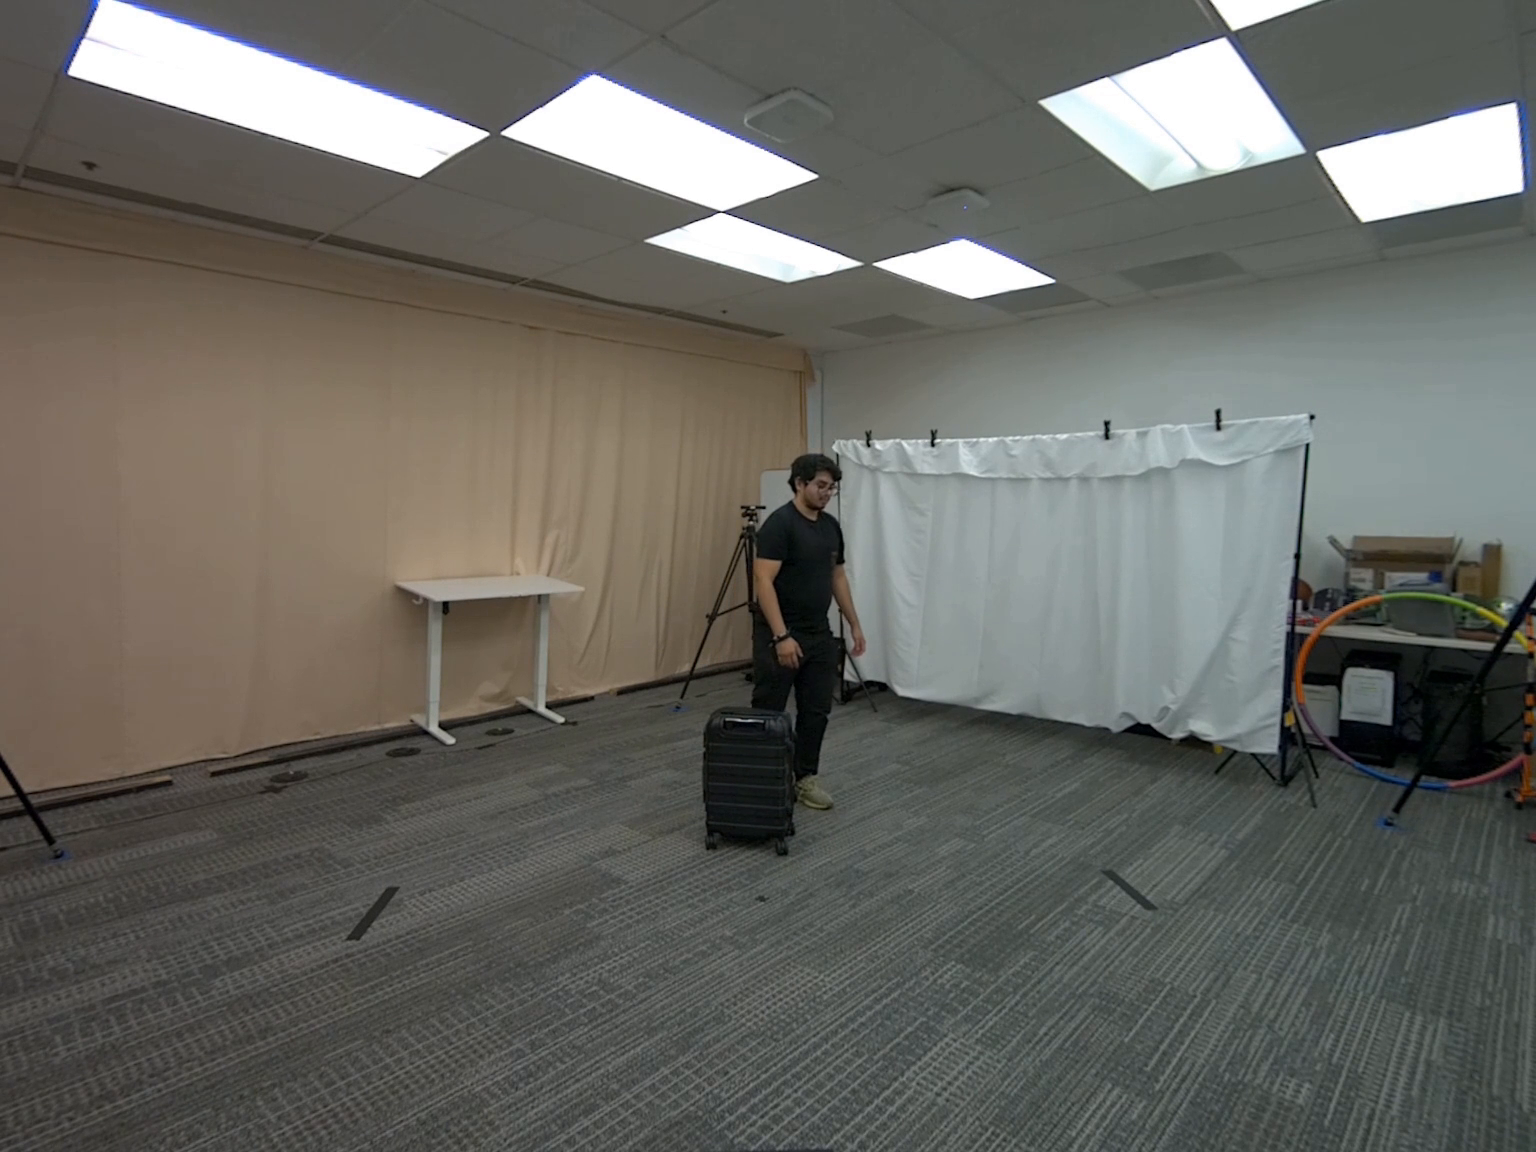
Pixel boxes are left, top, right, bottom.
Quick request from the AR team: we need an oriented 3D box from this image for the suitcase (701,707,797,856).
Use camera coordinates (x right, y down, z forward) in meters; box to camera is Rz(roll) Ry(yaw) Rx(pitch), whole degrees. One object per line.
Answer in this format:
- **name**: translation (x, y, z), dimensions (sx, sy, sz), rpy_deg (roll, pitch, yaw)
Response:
- **suitcase**: translation (-0.078, 0.823, 3.509), dimensions (0.381, 0.549, 0.245), rpy_deg (0, 0, 12)
